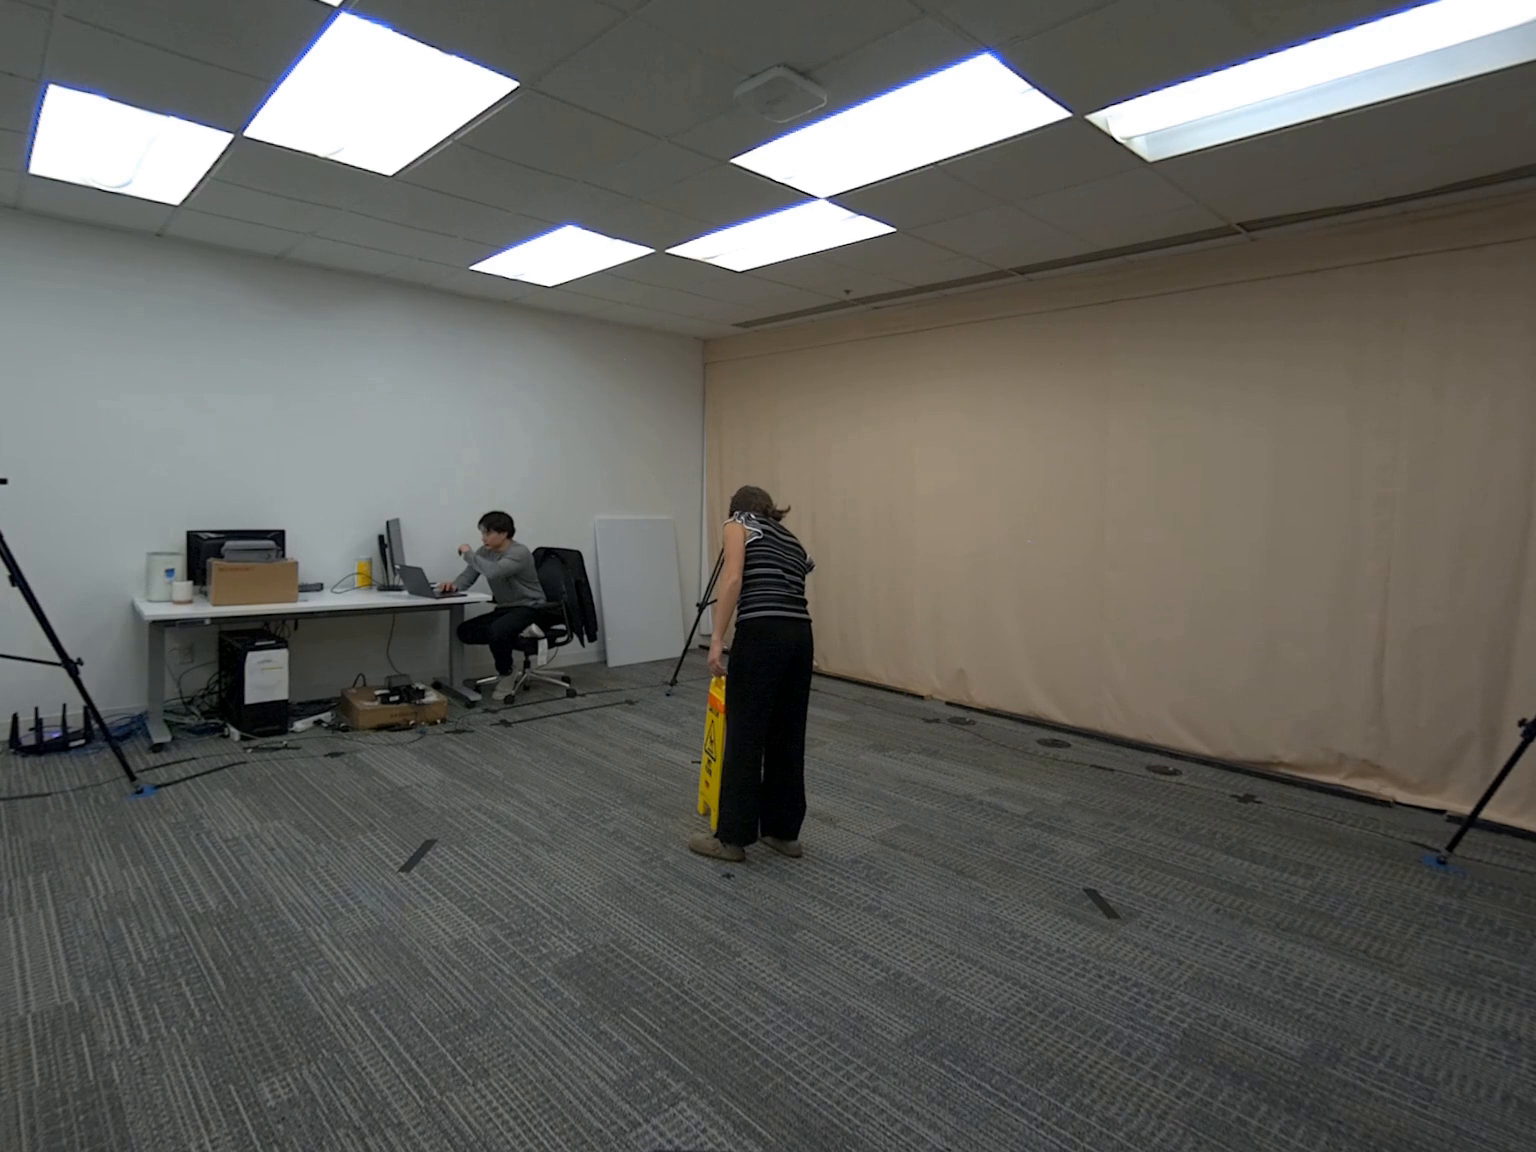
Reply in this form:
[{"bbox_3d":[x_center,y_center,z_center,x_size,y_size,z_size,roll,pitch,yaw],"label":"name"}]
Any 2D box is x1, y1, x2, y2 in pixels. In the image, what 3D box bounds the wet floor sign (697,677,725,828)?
[{"bbox_3d":[-0.179,0.724,3.650,0.286,0.644,0.287,-5,5,-18],"label":"wet floor sign"}]
